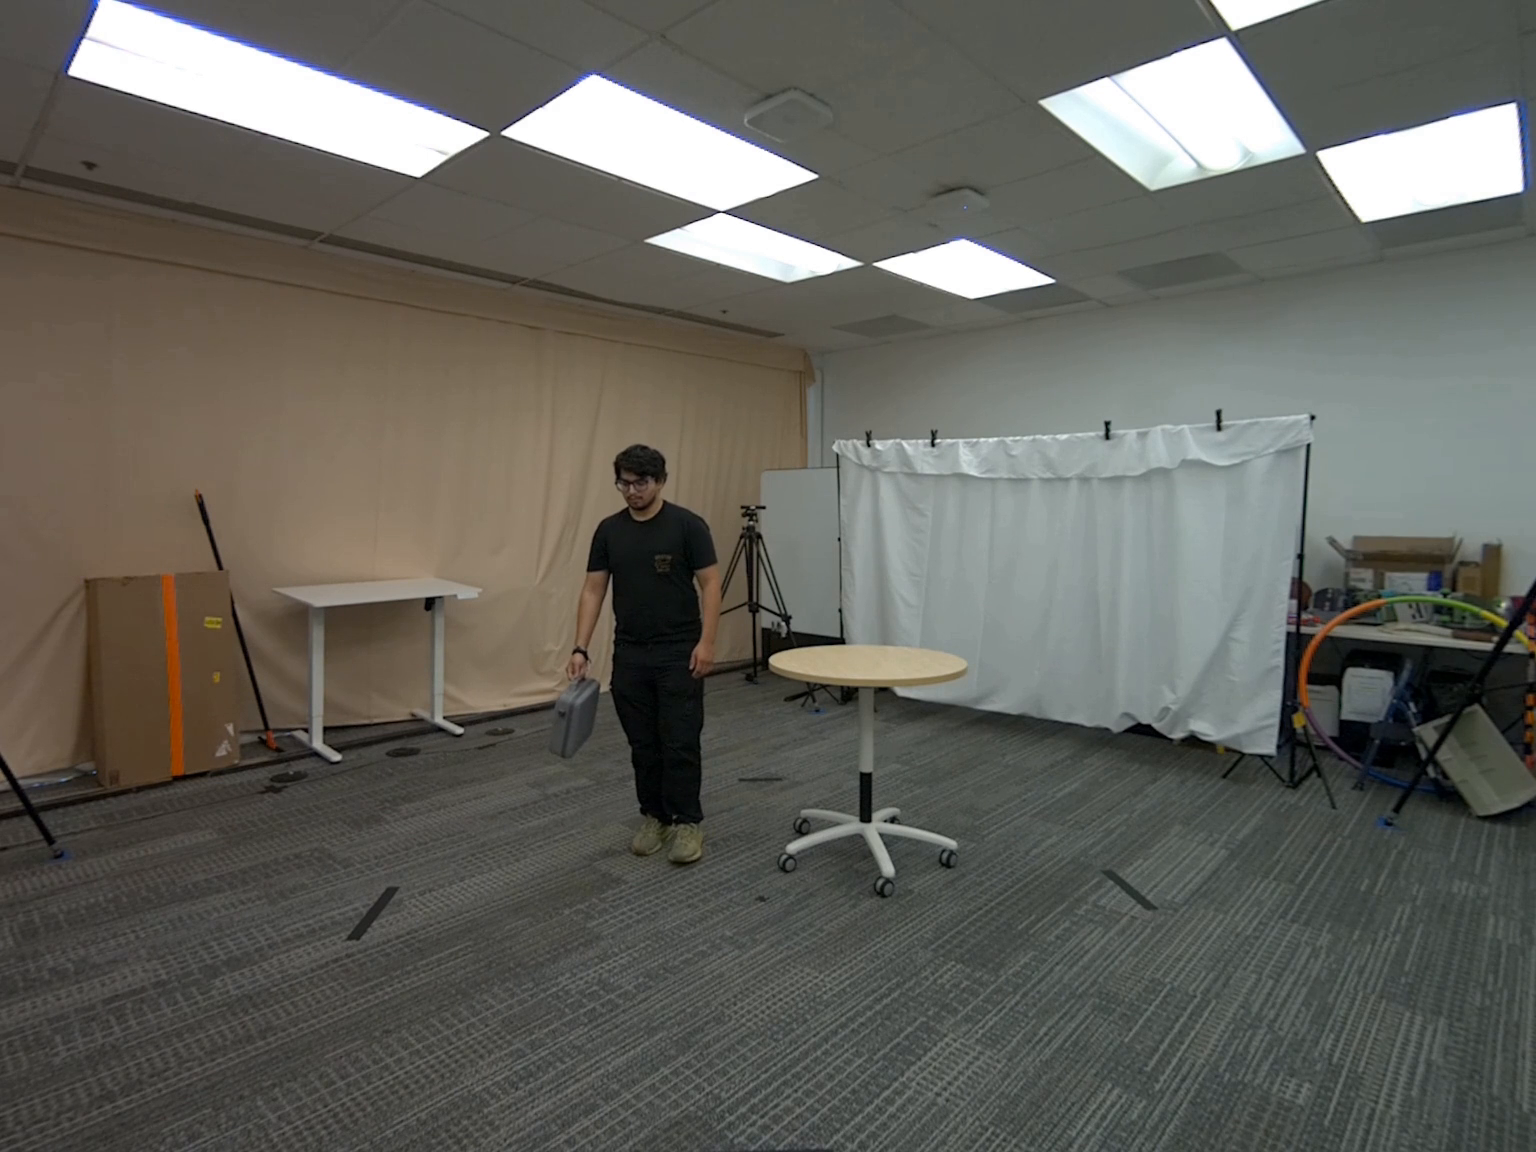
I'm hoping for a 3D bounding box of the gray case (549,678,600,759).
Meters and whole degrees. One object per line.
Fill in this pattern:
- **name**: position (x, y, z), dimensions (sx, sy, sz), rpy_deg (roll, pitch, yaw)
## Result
- **gray case**: position (-0.751, 0.542, 3.290), dimensions (0.105, 0.259, 0.255), rpy_deg (13, 13, 7)
